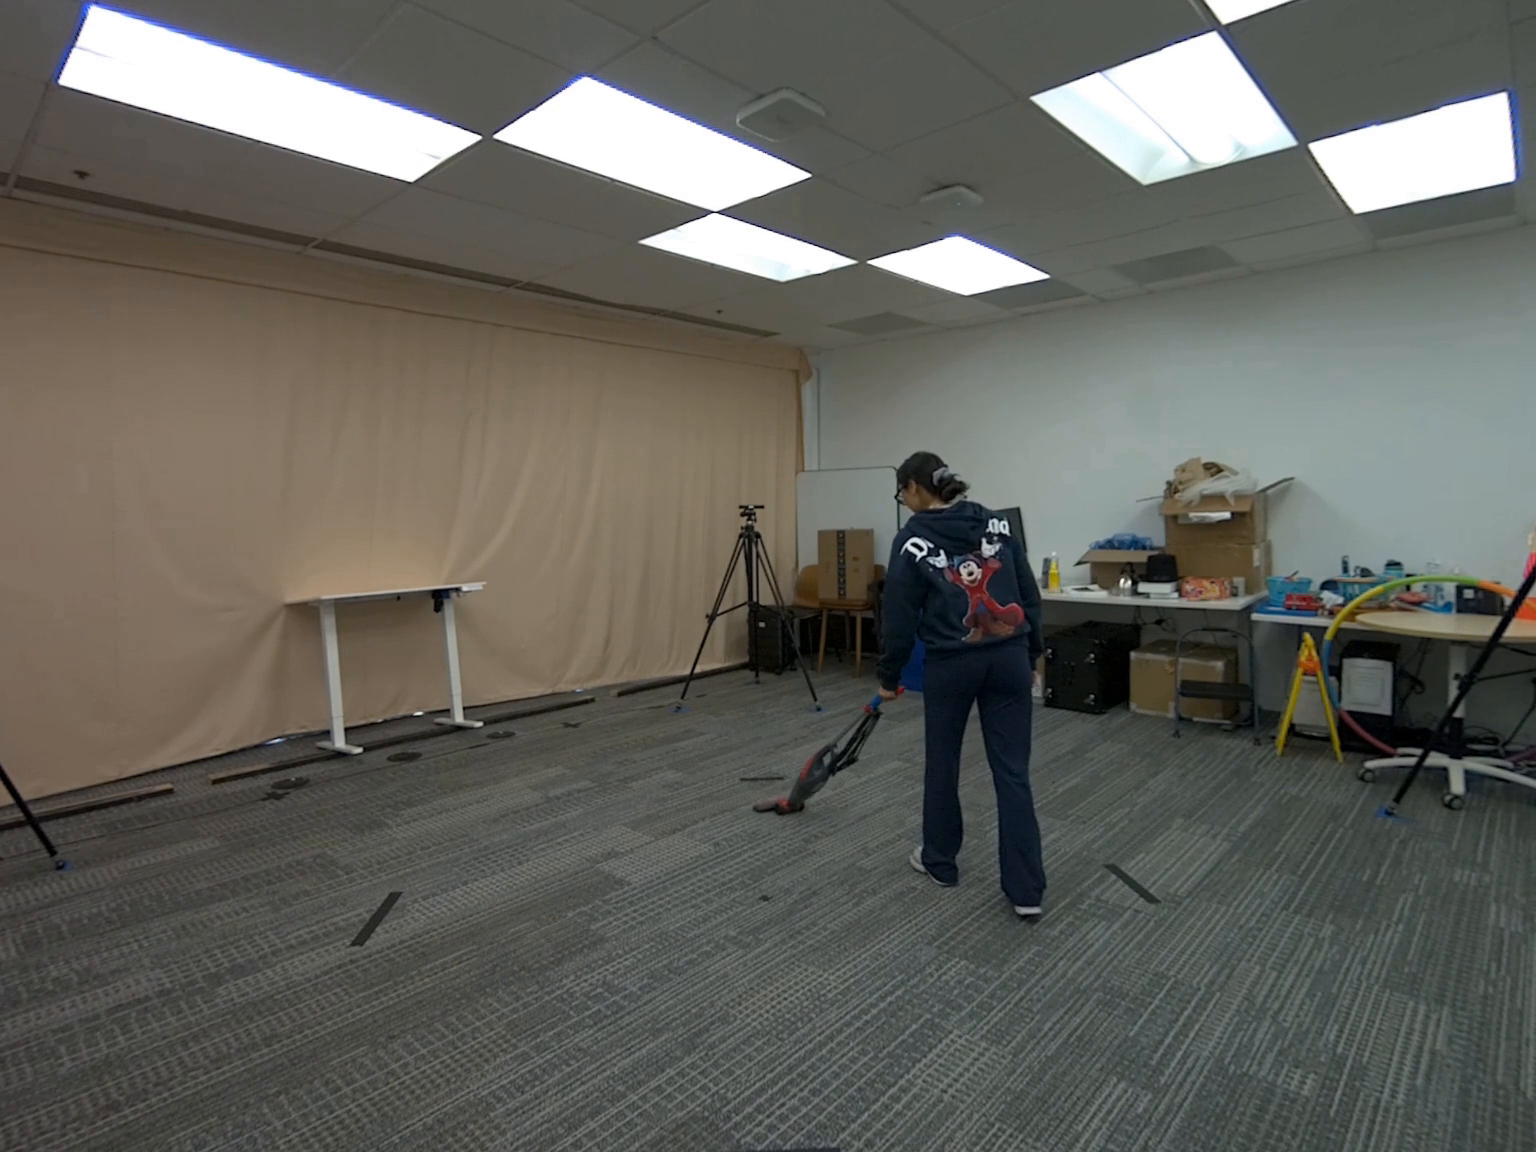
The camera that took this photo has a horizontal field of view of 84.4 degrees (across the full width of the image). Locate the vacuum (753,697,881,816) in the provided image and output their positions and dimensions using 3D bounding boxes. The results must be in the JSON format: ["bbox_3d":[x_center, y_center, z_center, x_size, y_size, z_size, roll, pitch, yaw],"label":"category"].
[{"bbox_3d":[0.285,0.745,3.493,0.246,0.147,1.051,-14,-28,-37],"label":"vacuum"}]
